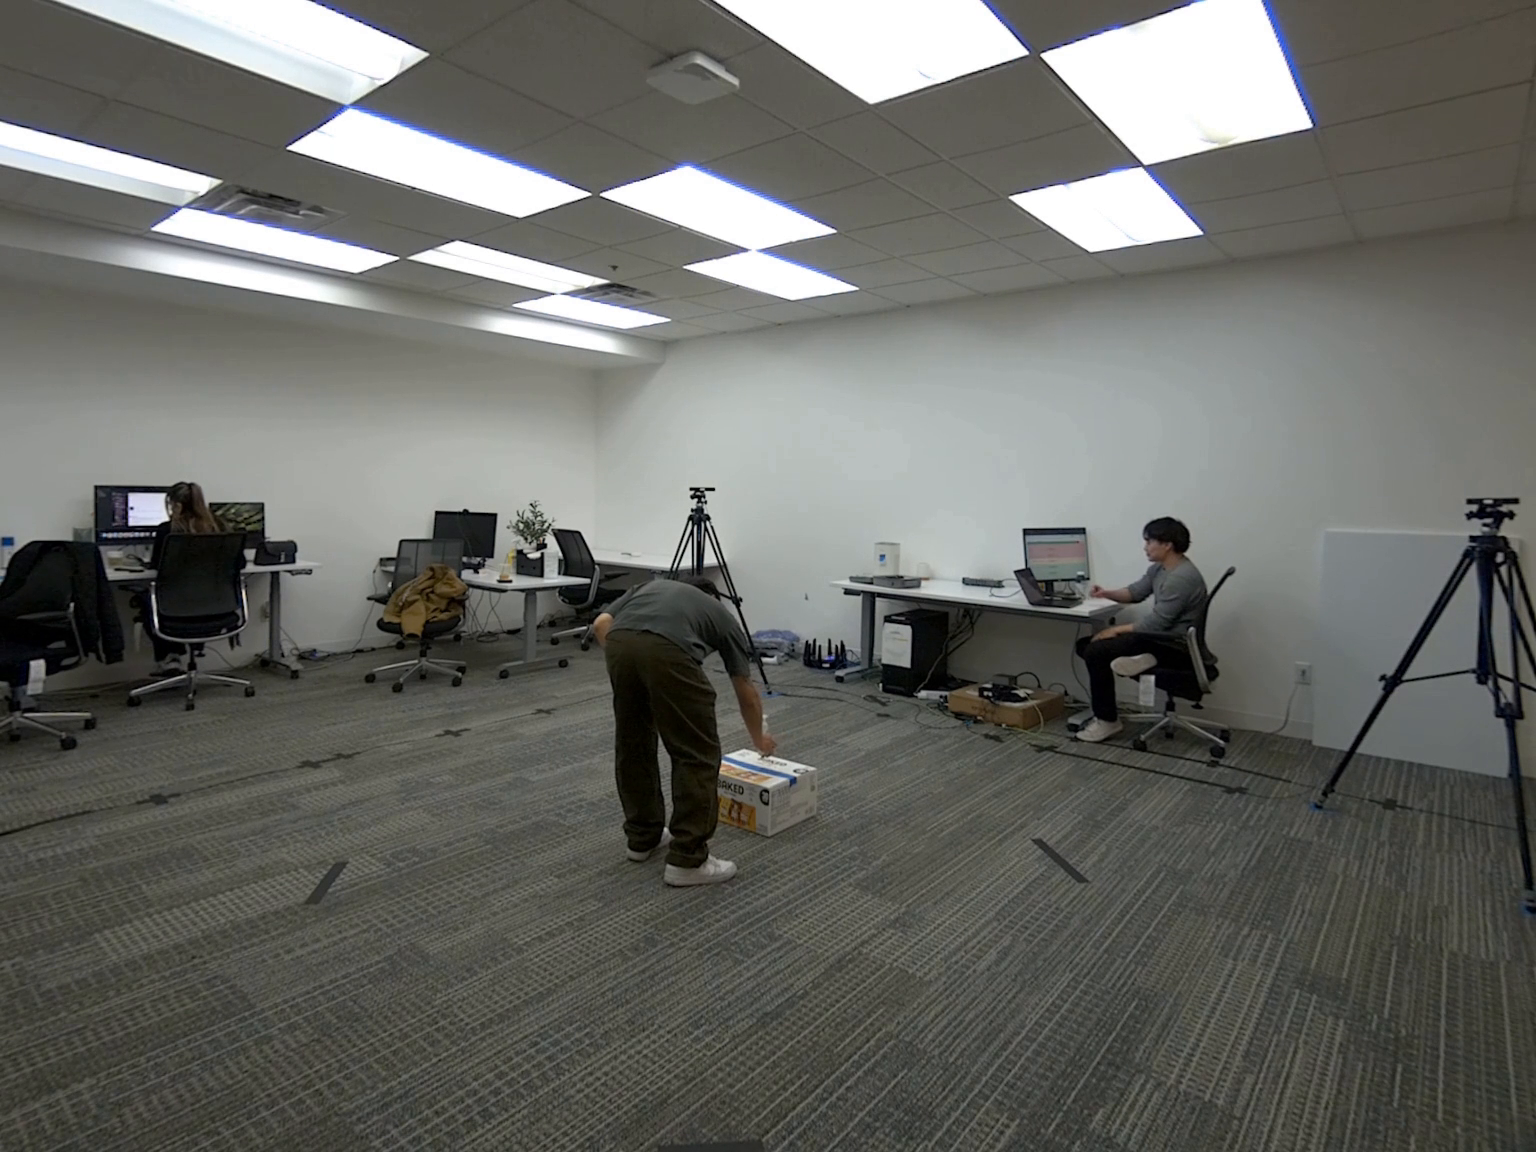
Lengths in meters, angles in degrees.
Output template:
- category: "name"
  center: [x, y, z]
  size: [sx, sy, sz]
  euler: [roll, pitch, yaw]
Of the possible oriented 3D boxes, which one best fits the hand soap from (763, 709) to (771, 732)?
- category: "hand soap"
  center: [-0.026, 0.676, 3.630]
  size: [0.043, 0.169, 0.085]
  euler: [4, -3, -5]
